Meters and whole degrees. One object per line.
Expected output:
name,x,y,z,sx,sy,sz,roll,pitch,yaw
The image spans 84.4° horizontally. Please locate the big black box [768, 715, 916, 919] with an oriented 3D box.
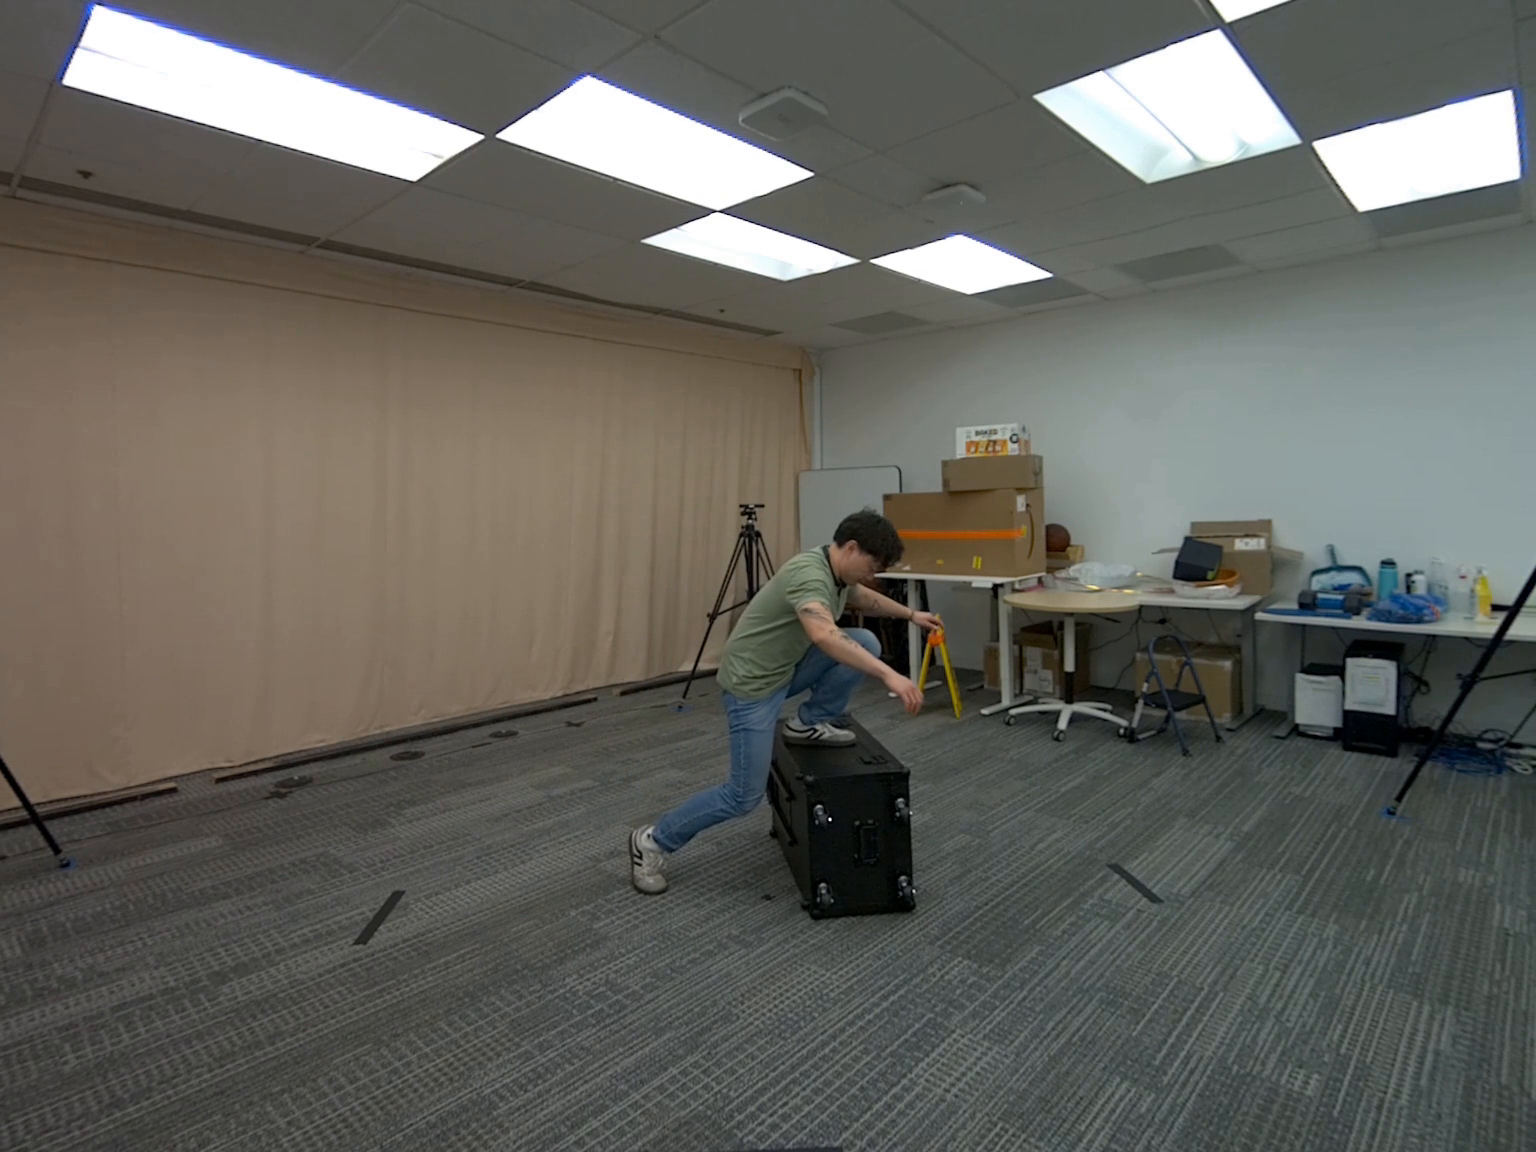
big black box,0.241,0.864,3.169,0.393,0.520,0.871,-3,5,-9
